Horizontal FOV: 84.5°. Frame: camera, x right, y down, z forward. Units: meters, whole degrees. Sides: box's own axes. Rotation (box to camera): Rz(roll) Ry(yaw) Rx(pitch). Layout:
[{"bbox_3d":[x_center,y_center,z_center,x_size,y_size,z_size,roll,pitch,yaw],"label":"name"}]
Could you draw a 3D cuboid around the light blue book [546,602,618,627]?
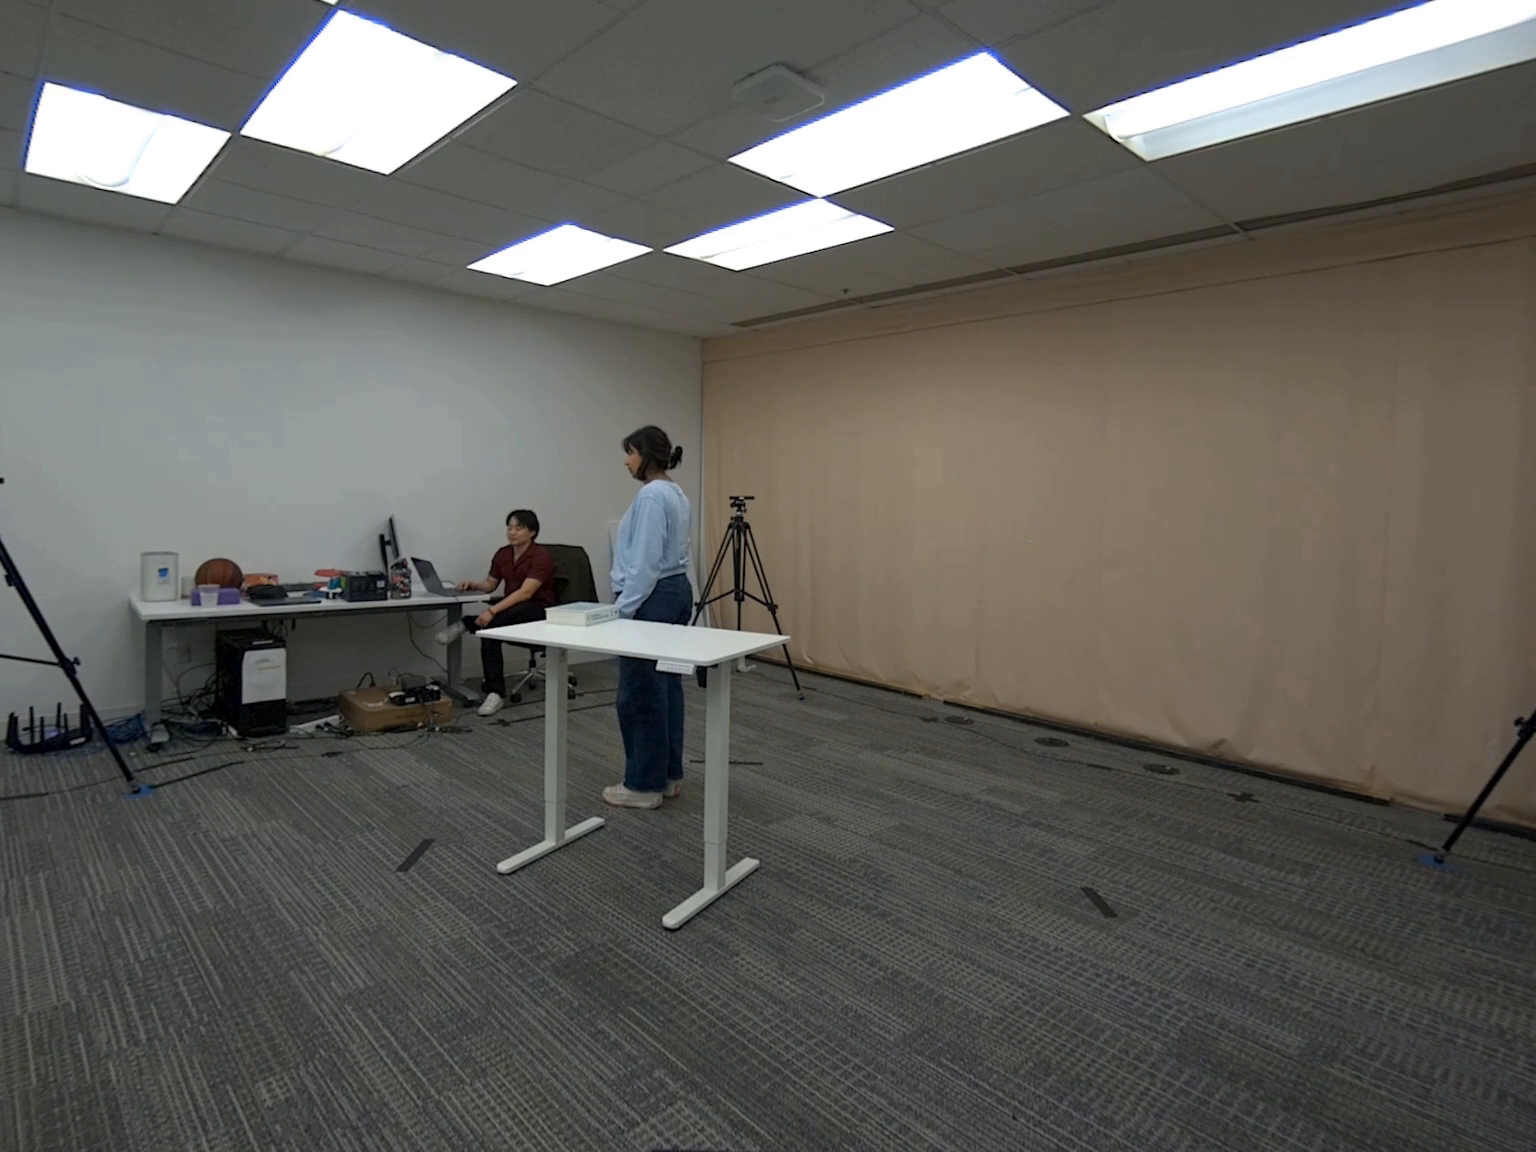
[{"bbox_3d":[-0.779,0.155,3.412,0.194,0.059,0.257,3,5,19],"label":"light blue book"}]
